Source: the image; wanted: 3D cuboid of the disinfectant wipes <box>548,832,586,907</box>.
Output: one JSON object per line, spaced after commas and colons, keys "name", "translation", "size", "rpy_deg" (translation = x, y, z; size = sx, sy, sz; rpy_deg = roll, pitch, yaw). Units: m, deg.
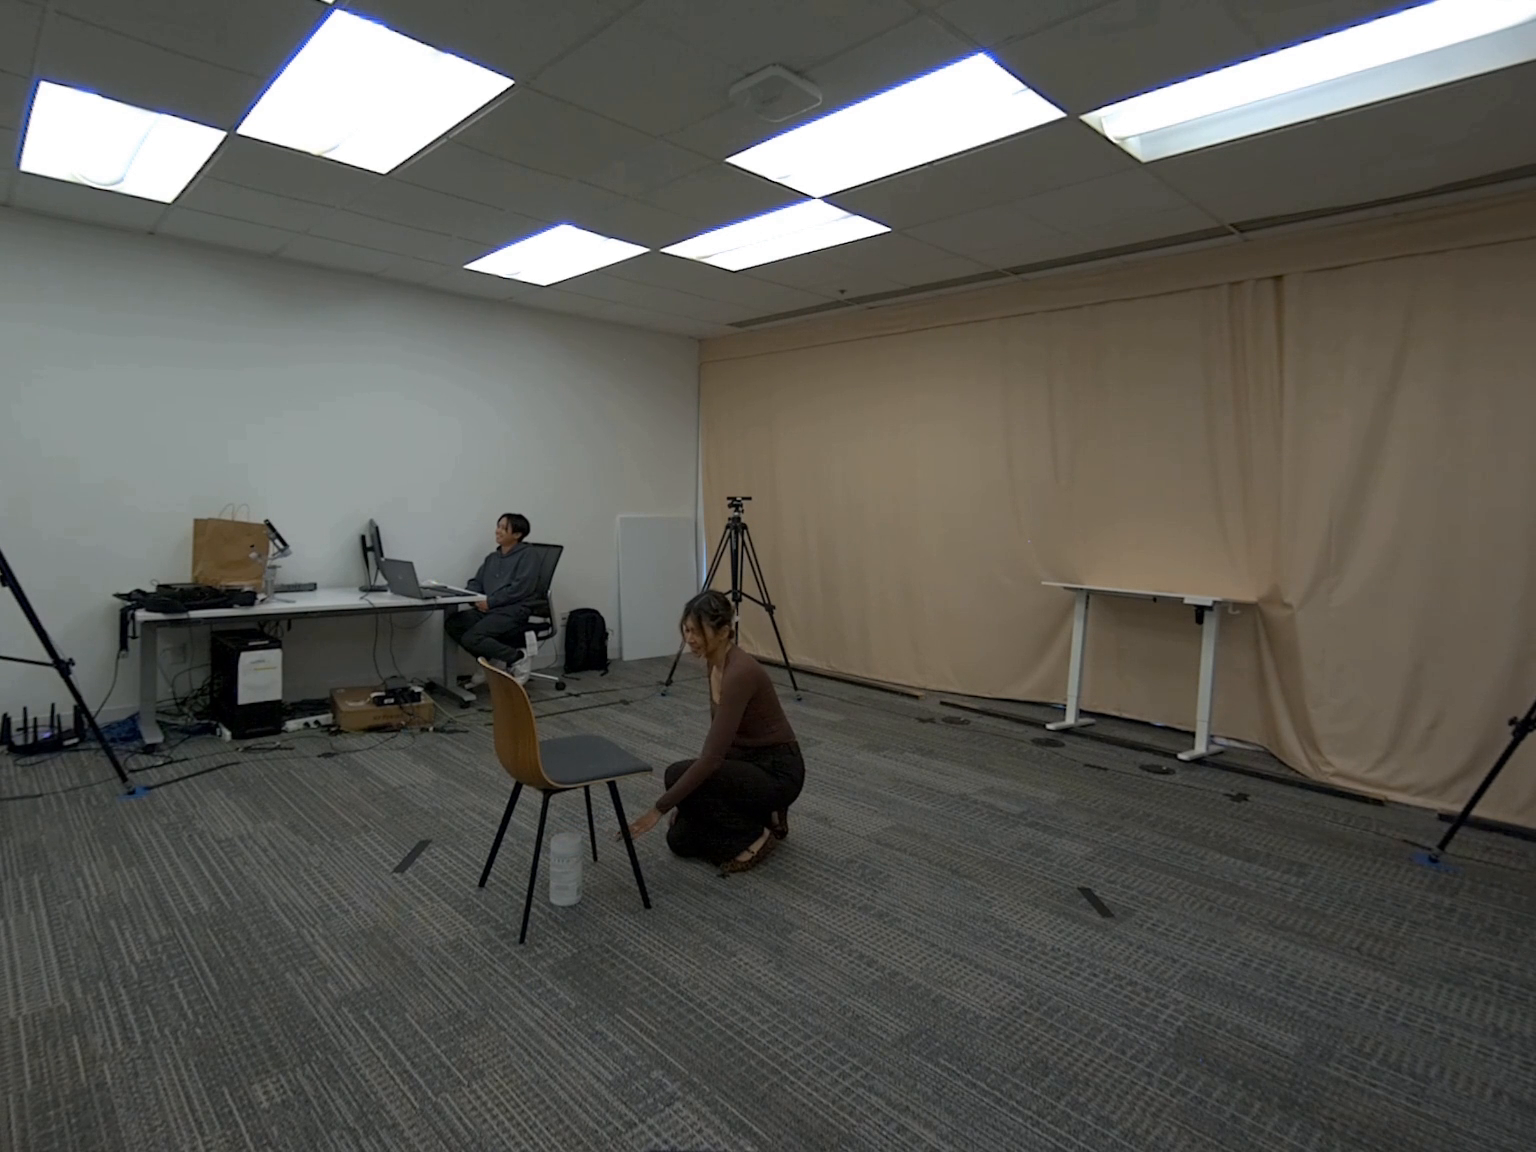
{"name": "disinfectant wipes", "translation": [-0.707, 1.016, 2.890], "size": [0.118, 0.217, 0.118], "rpy_deg": [2, 3, -2]}
